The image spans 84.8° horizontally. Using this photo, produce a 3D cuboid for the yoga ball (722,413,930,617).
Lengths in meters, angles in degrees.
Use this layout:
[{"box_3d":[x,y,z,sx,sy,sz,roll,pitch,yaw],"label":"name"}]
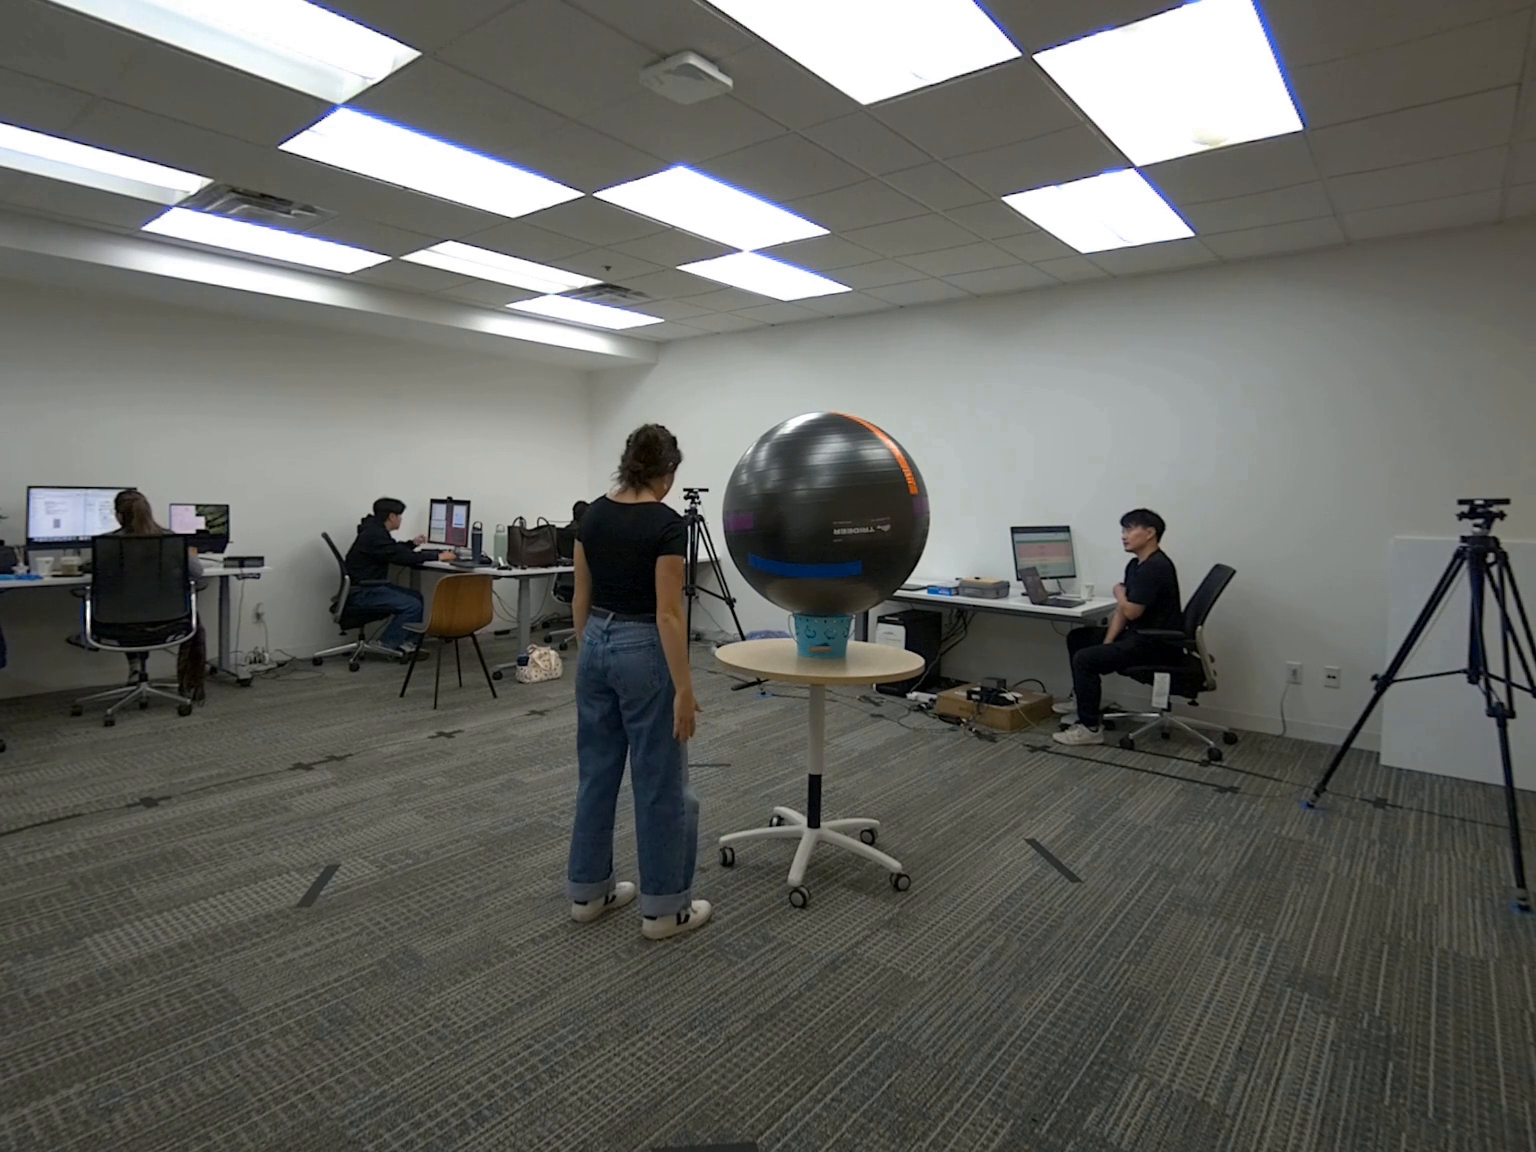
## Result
[{"box_3d":[0.216,-0.226,3.162,0.757,0.756,0.762,1,4,-2],"label":"yoga ball"}]
